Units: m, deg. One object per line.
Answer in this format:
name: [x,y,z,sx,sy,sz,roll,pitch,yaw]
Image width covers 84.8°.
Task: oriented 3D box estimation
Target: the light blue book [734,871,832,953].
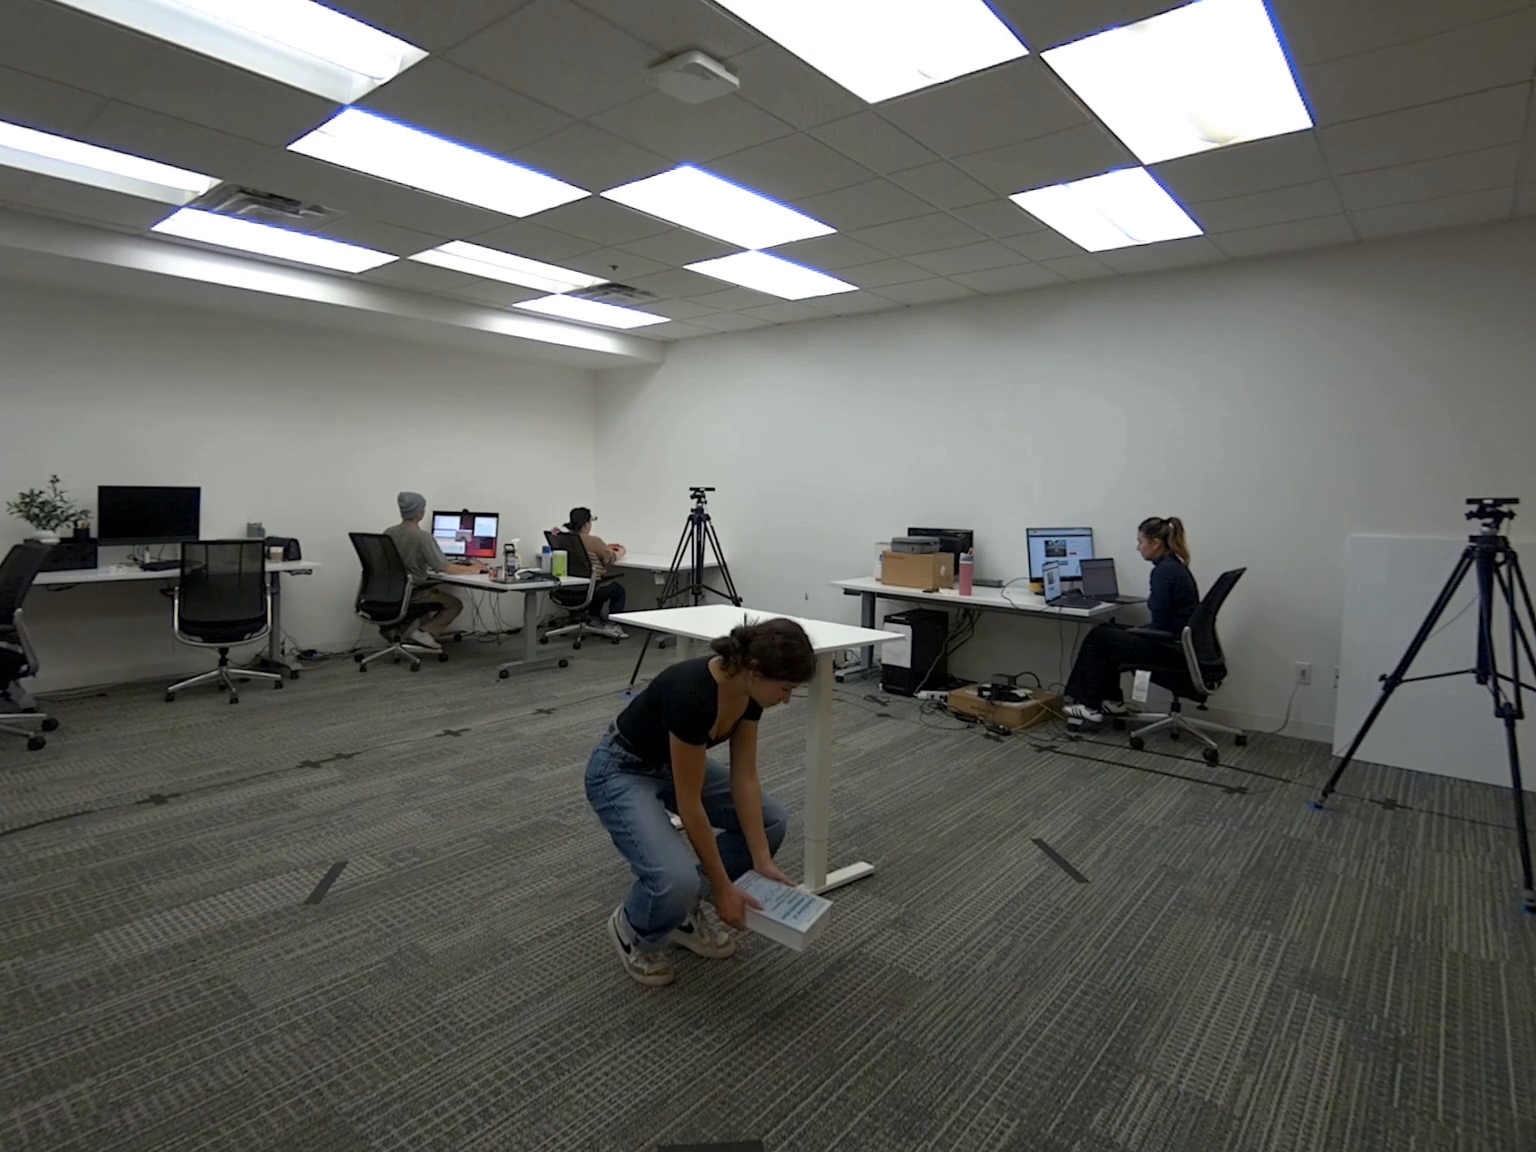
light blue book: [0.017,0.901,2.309,0.269,0.058,0.187,10,10,28]
